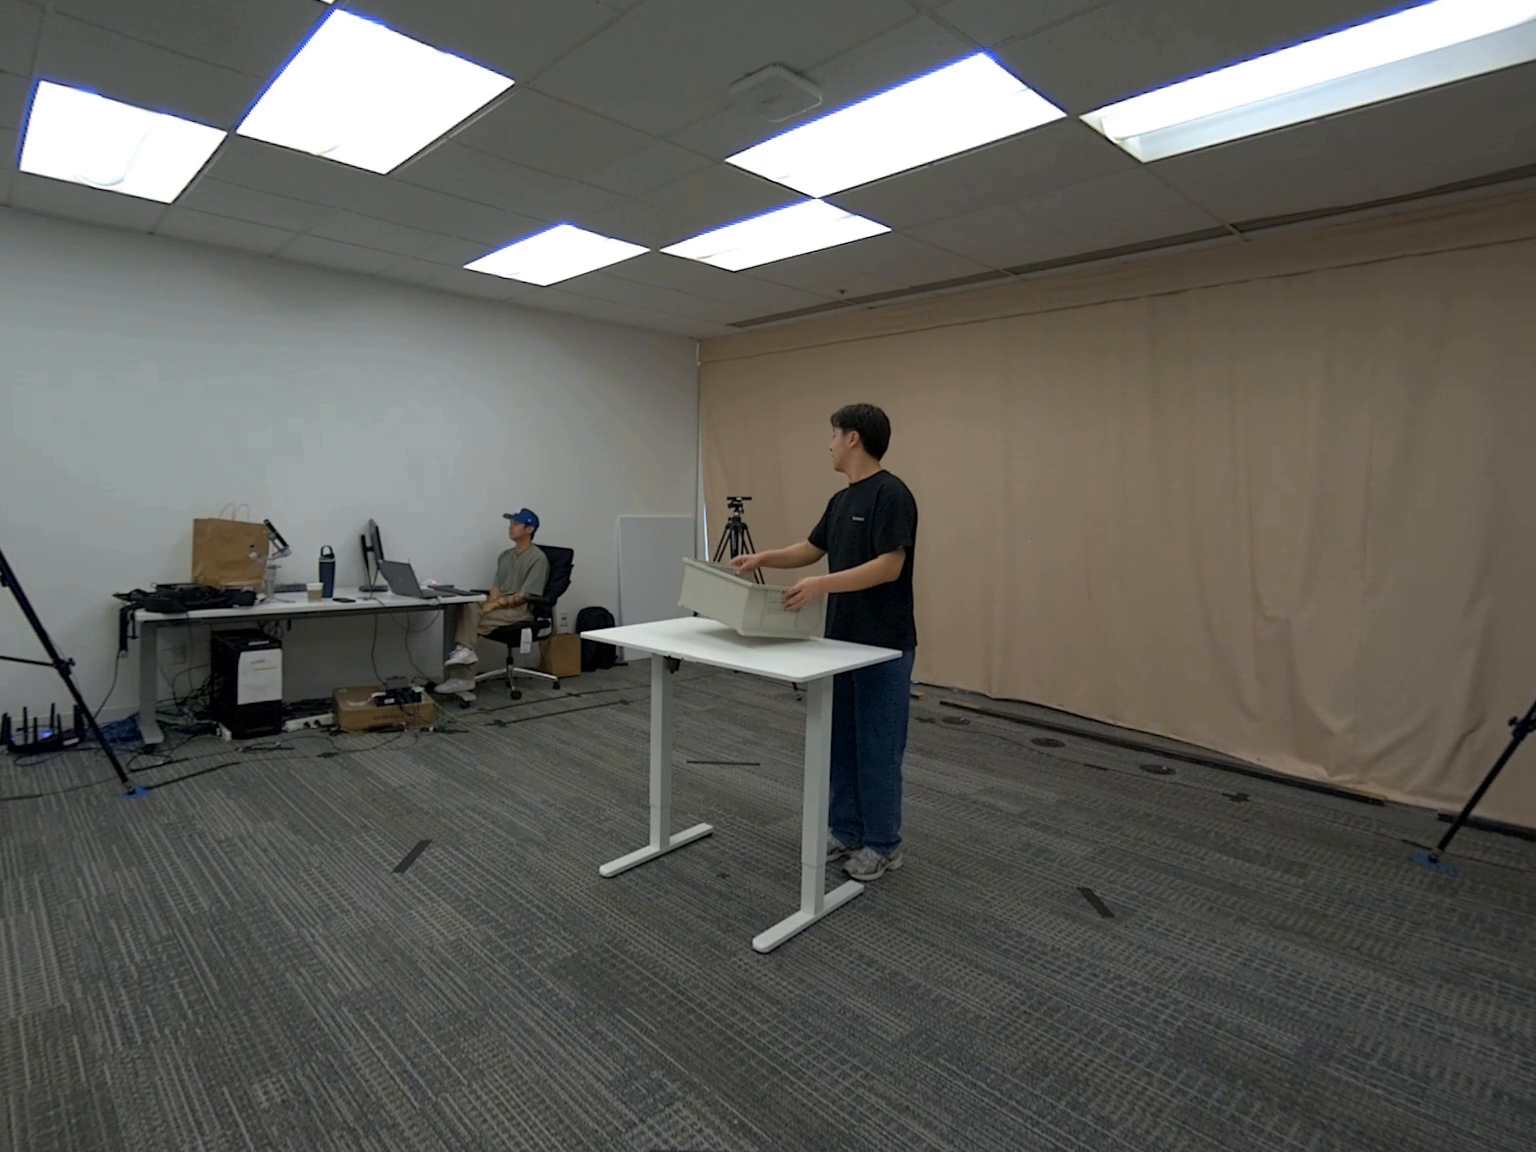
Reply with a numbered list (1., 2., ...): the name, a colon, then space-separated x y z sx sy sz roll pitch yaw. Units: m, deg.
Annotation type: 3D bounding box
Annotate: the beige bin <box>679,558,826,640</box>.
1. beige bin: -0.066 0.080 3.093 0.368 0.188 0.435 5 10 -40
